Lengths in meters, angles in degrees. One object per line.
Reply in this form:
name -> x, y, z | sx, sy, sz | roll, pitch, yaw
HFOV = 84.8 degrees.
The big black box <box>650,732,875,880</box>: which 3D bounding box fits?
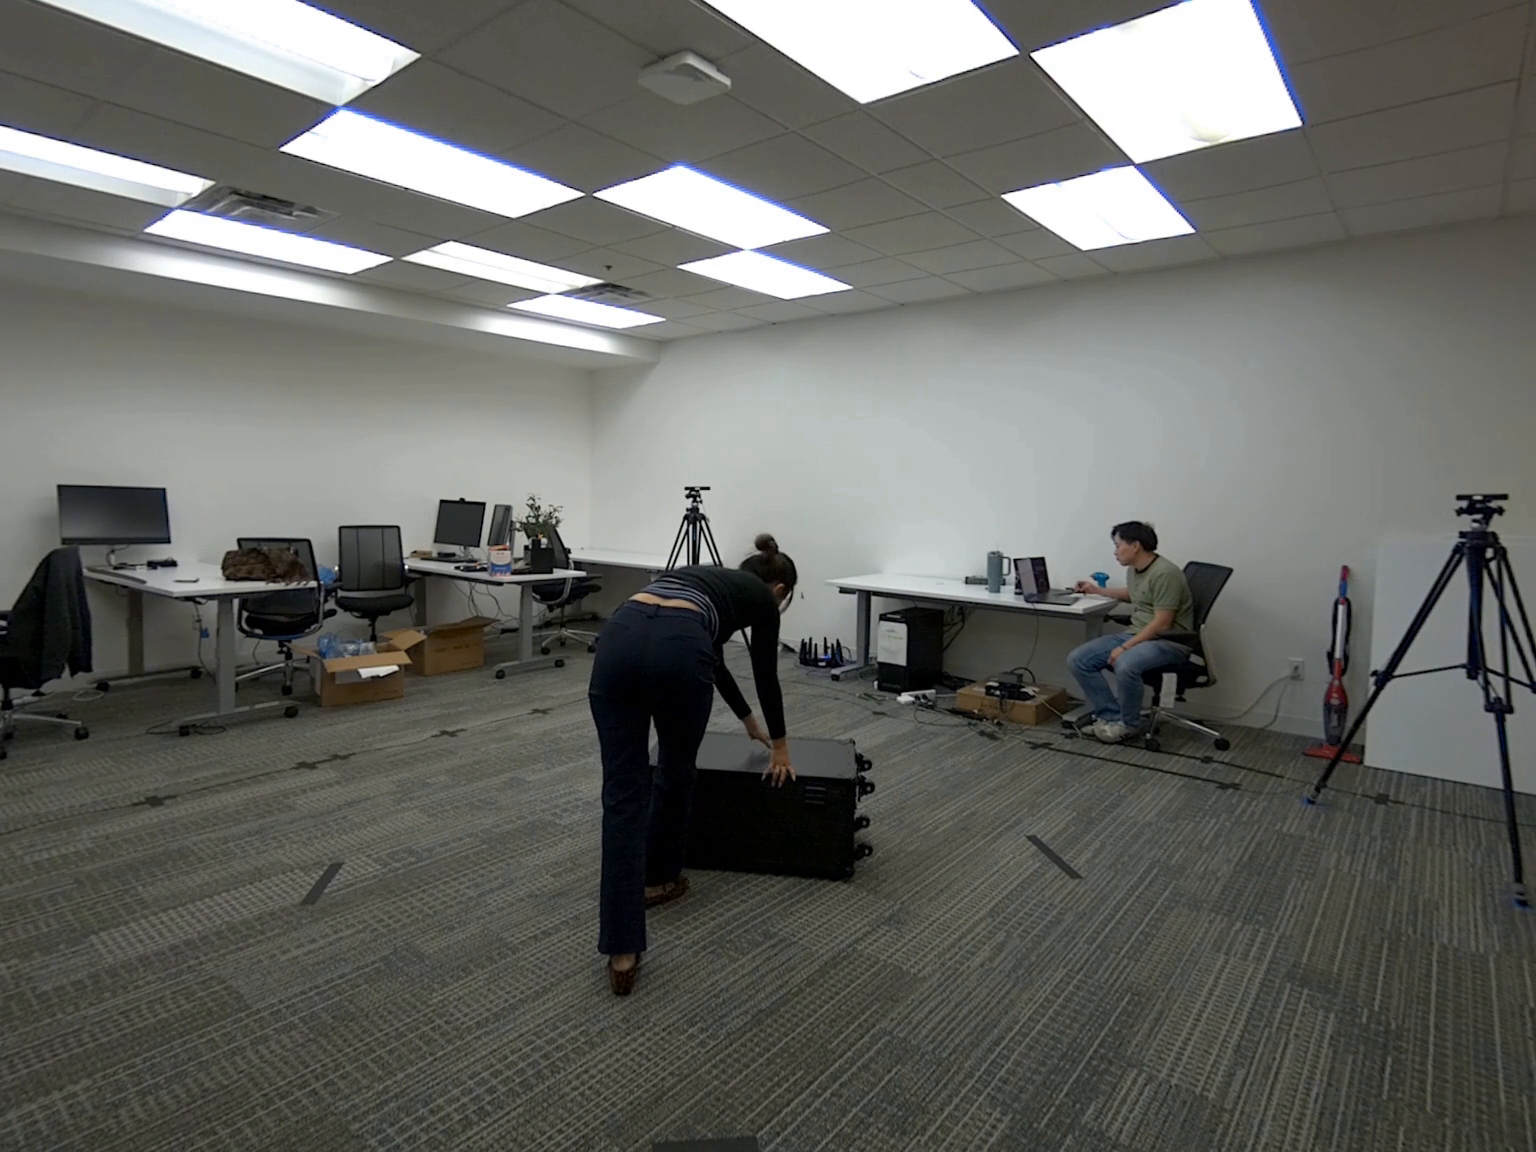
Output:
big black box -> -0.035, 0.856, 3.281 | 0.869, 0.395, 0.519 | 1, 5, 8
